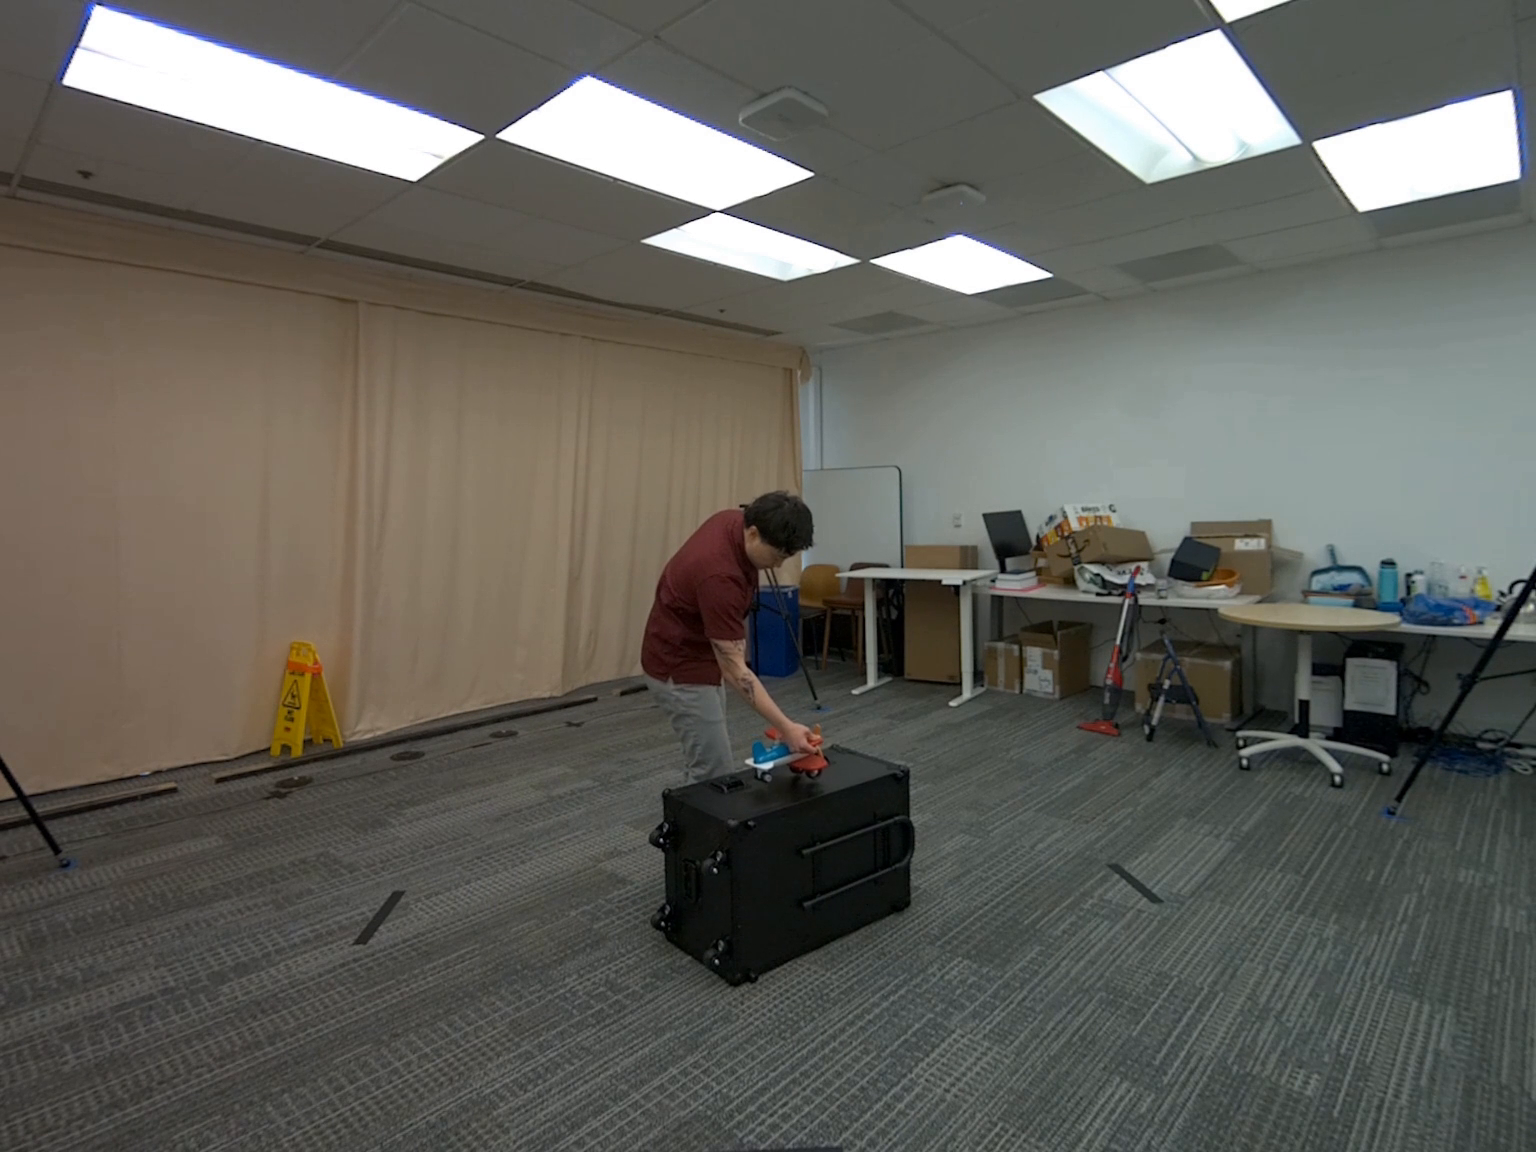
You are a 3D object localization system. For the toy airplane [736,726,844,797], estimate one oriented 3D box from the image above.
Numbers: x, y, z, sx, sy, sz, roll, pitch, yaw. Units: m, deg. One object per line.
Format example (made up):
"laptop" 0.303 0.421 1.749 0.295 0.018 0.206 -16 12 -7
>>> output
"toy airplane" 0.073 0.585 2.724 0.258 0.157 0.252 2 -3 28
